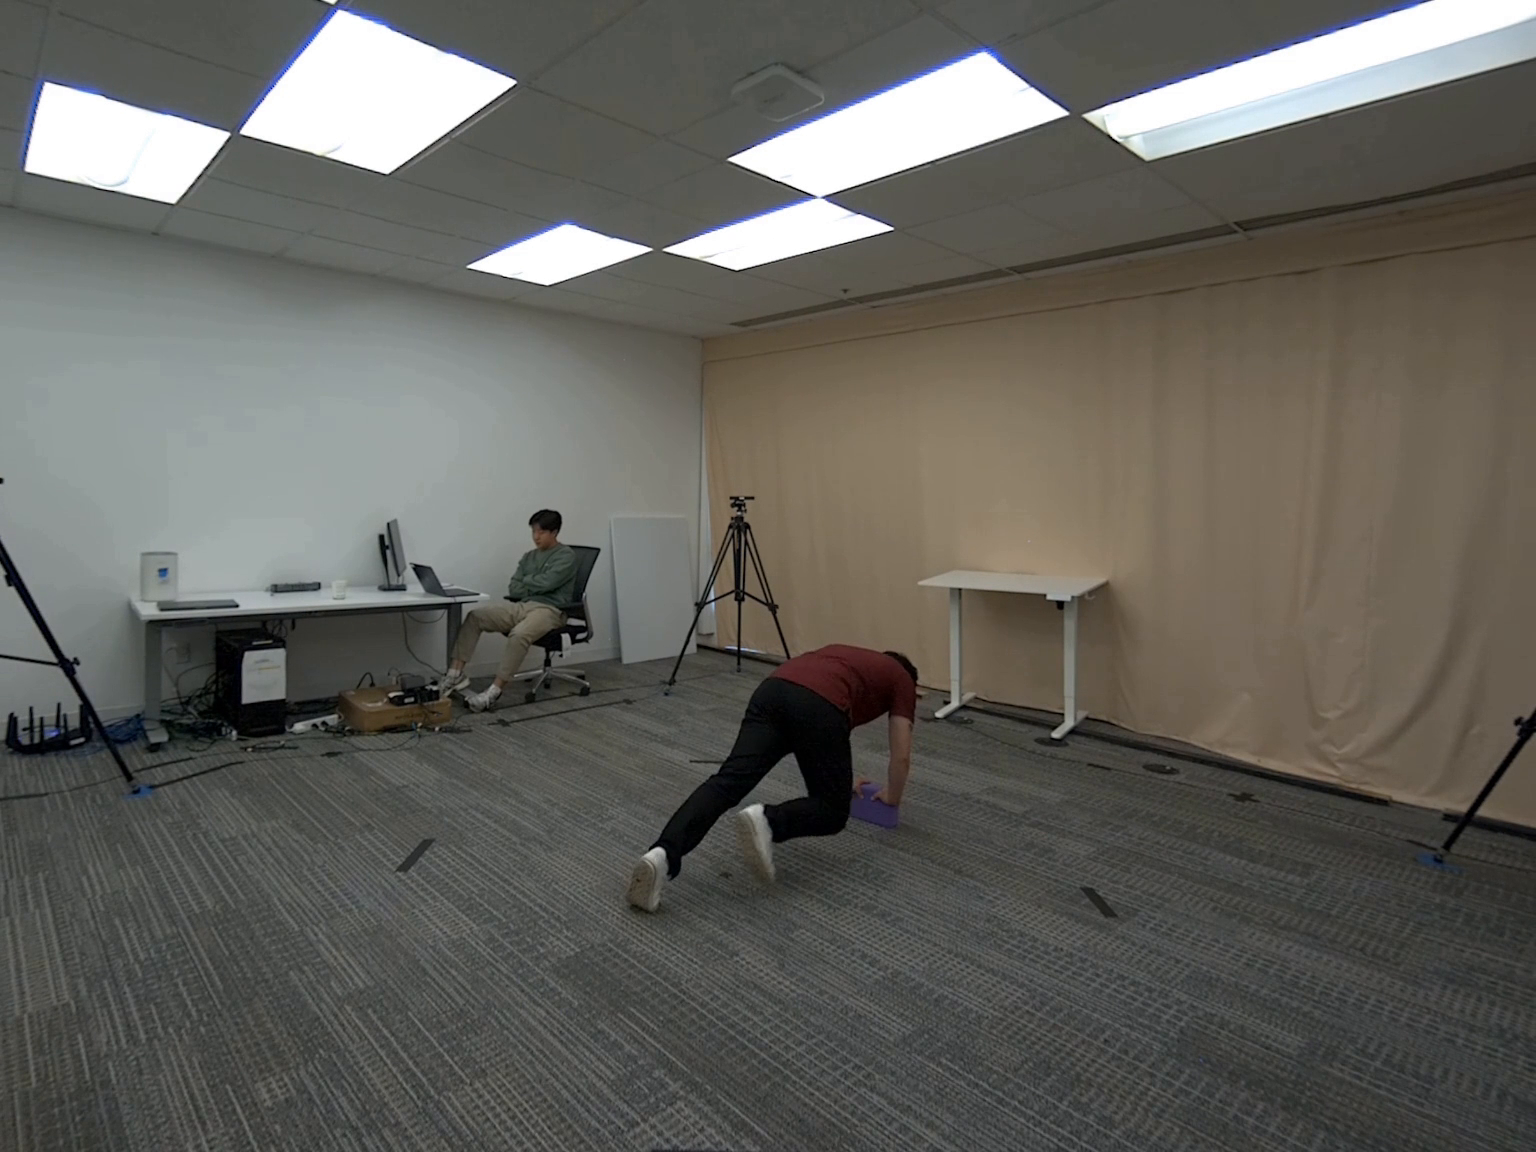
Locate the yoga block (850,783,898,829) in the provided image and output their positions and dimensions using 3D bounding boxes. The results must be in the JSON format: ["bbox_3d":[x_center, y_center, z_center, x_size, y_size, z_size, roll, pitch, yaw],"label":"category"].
[{"bbox_3d":[0.446,0.999,3.694,0.235,0.149,0.074,5,-2,39],"label":"yoga block"}]
